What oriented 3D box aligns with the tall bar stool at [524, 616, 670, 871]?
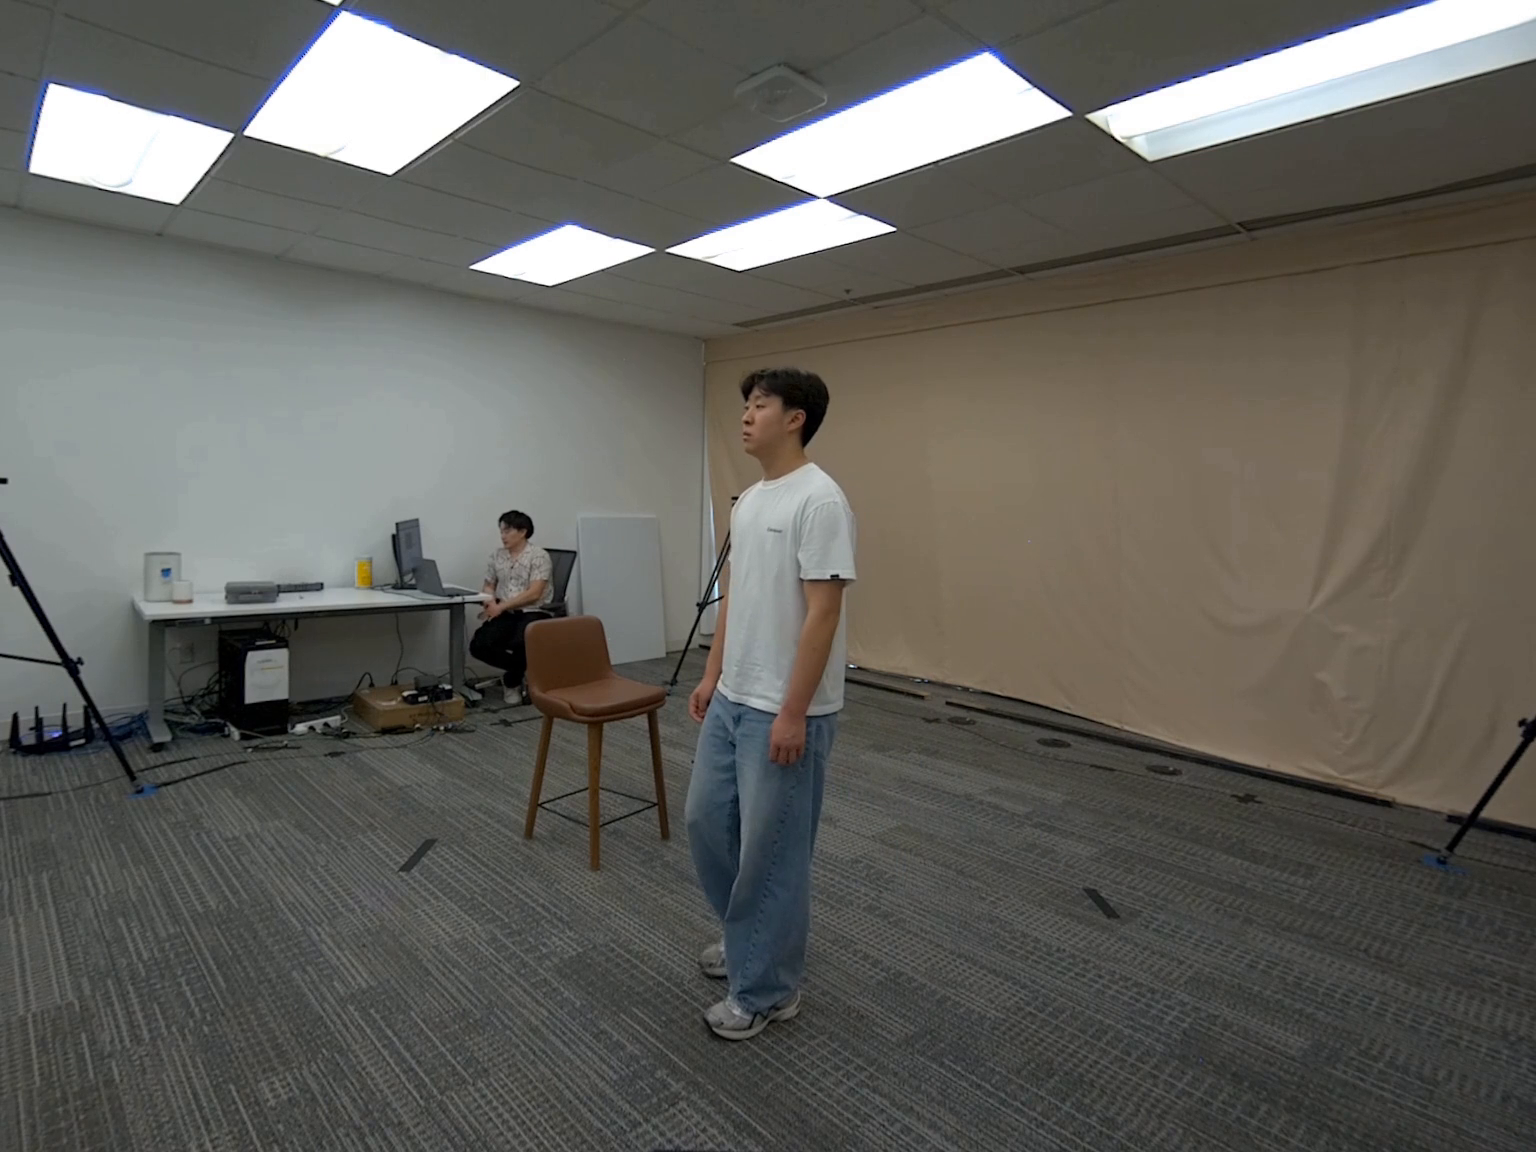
[{"bbox_3d":[-0.703,0.634,3.395,0.479,0.889,0.446,1,2,39],"label":"tall bar stool"}]
